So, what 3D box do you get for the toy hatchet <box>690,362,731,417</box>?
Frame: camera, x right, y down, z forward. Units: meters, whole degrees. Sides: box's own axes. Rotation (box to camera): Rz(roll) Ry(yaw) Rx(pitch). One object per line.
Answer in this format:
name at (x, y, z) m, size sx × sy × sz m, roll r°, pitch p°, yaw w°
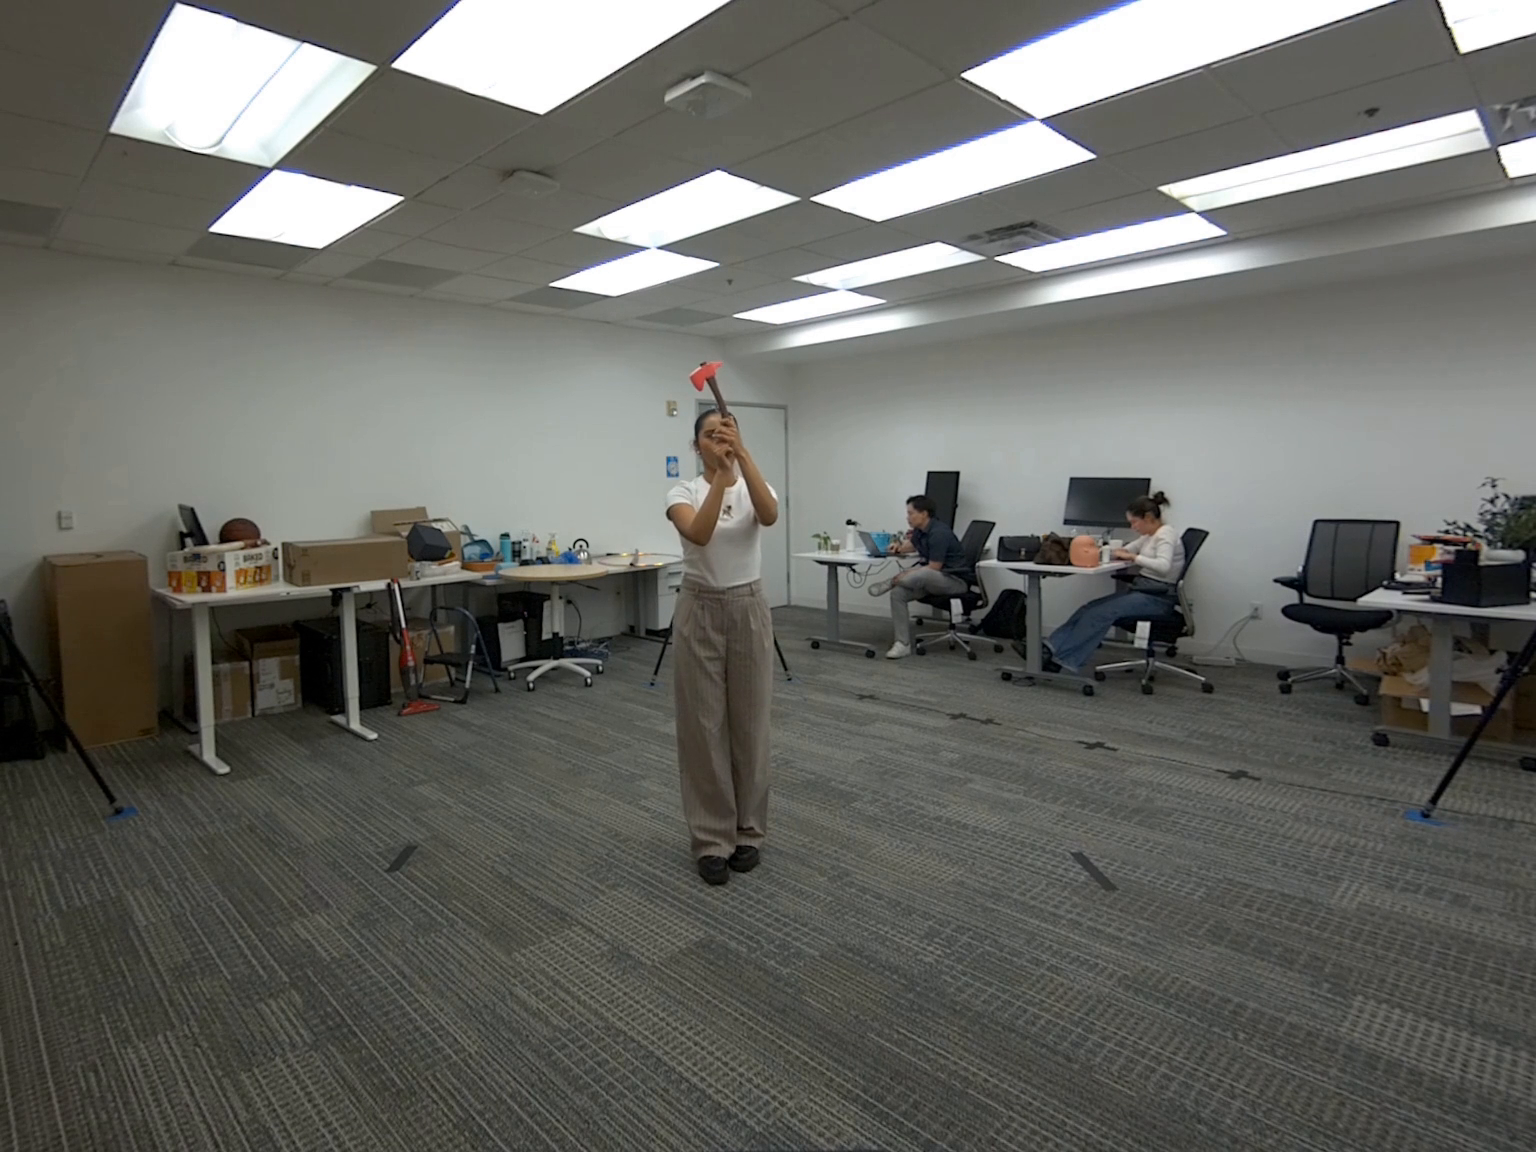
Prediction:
toy hatchet at (-0.175, -0.564, 2.771) m, size 0.128 × 0.268 × 0.030 m, roll -11°, pitch 7°, yaw -35°
